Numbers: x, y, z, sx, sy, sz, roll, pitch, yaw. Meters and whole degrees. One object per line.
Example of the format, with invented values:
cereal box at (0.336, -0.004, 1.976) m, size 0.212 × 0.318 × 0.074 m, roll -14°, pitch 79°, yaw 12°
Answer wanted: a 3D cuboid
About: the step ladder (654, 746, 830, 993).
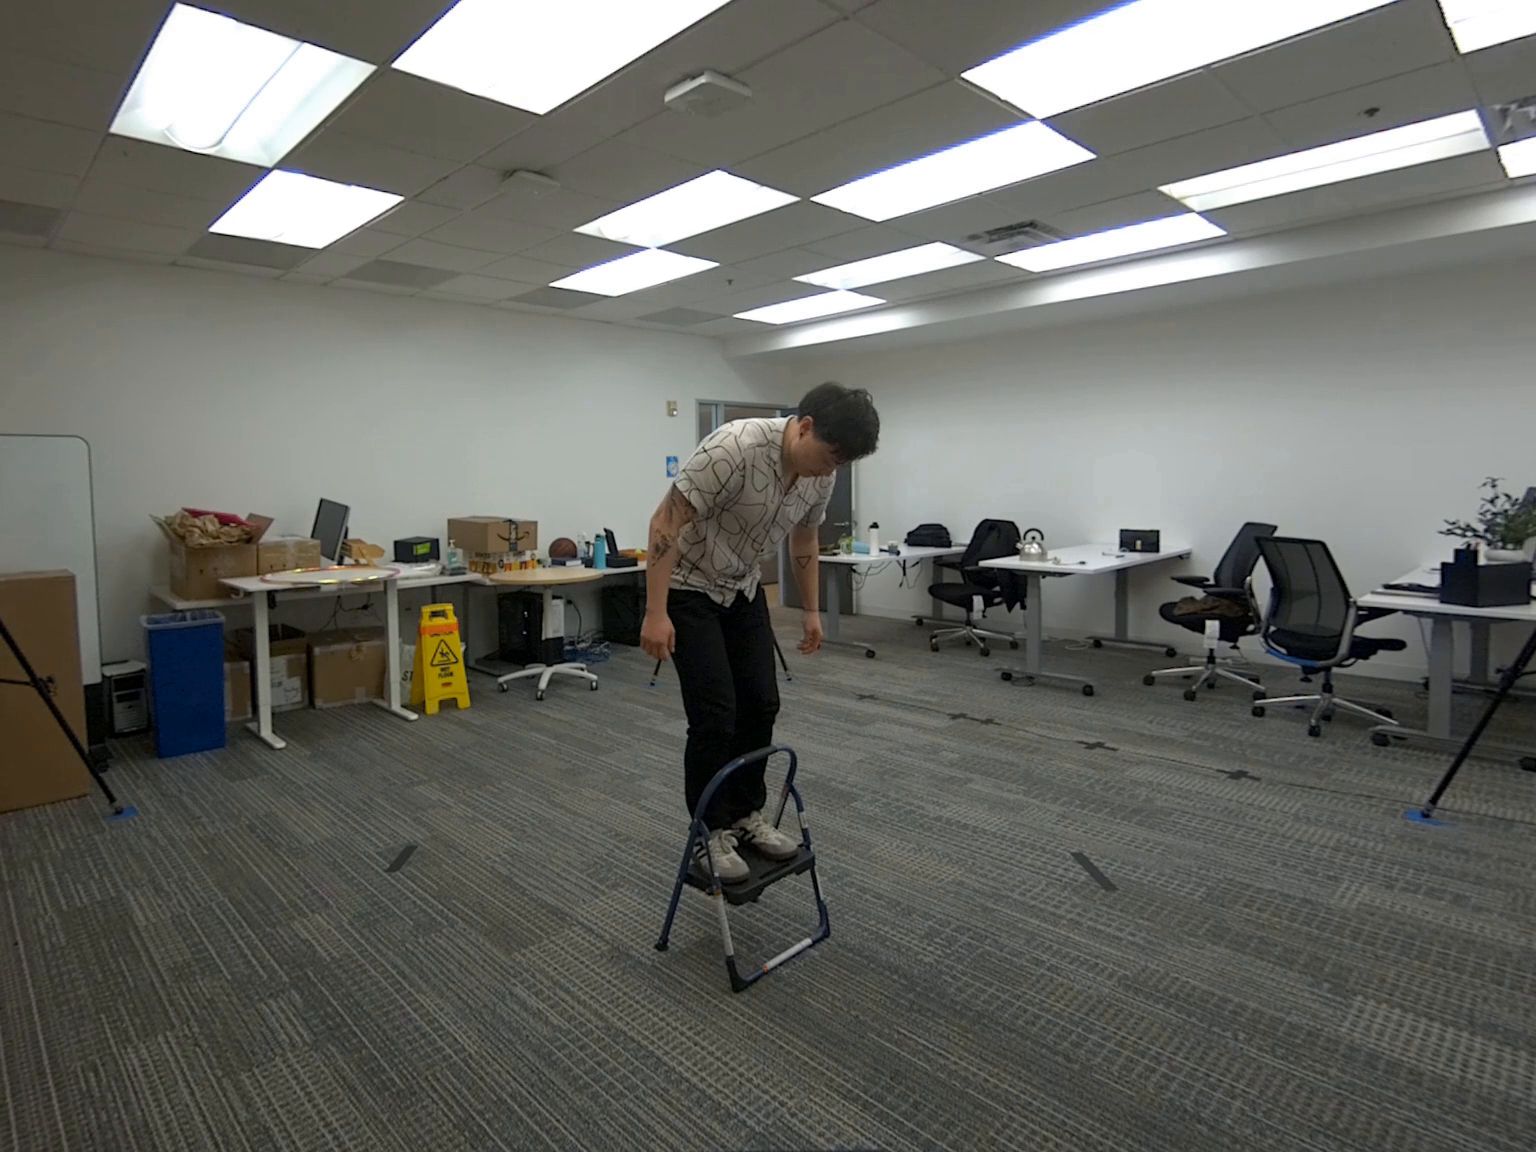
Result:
step ladder at (-0.071, 0.804, 2.565) m, size 0.360 × 0.603 × 0.419 m, roll 4°, pitch 7°, yaw 43°
